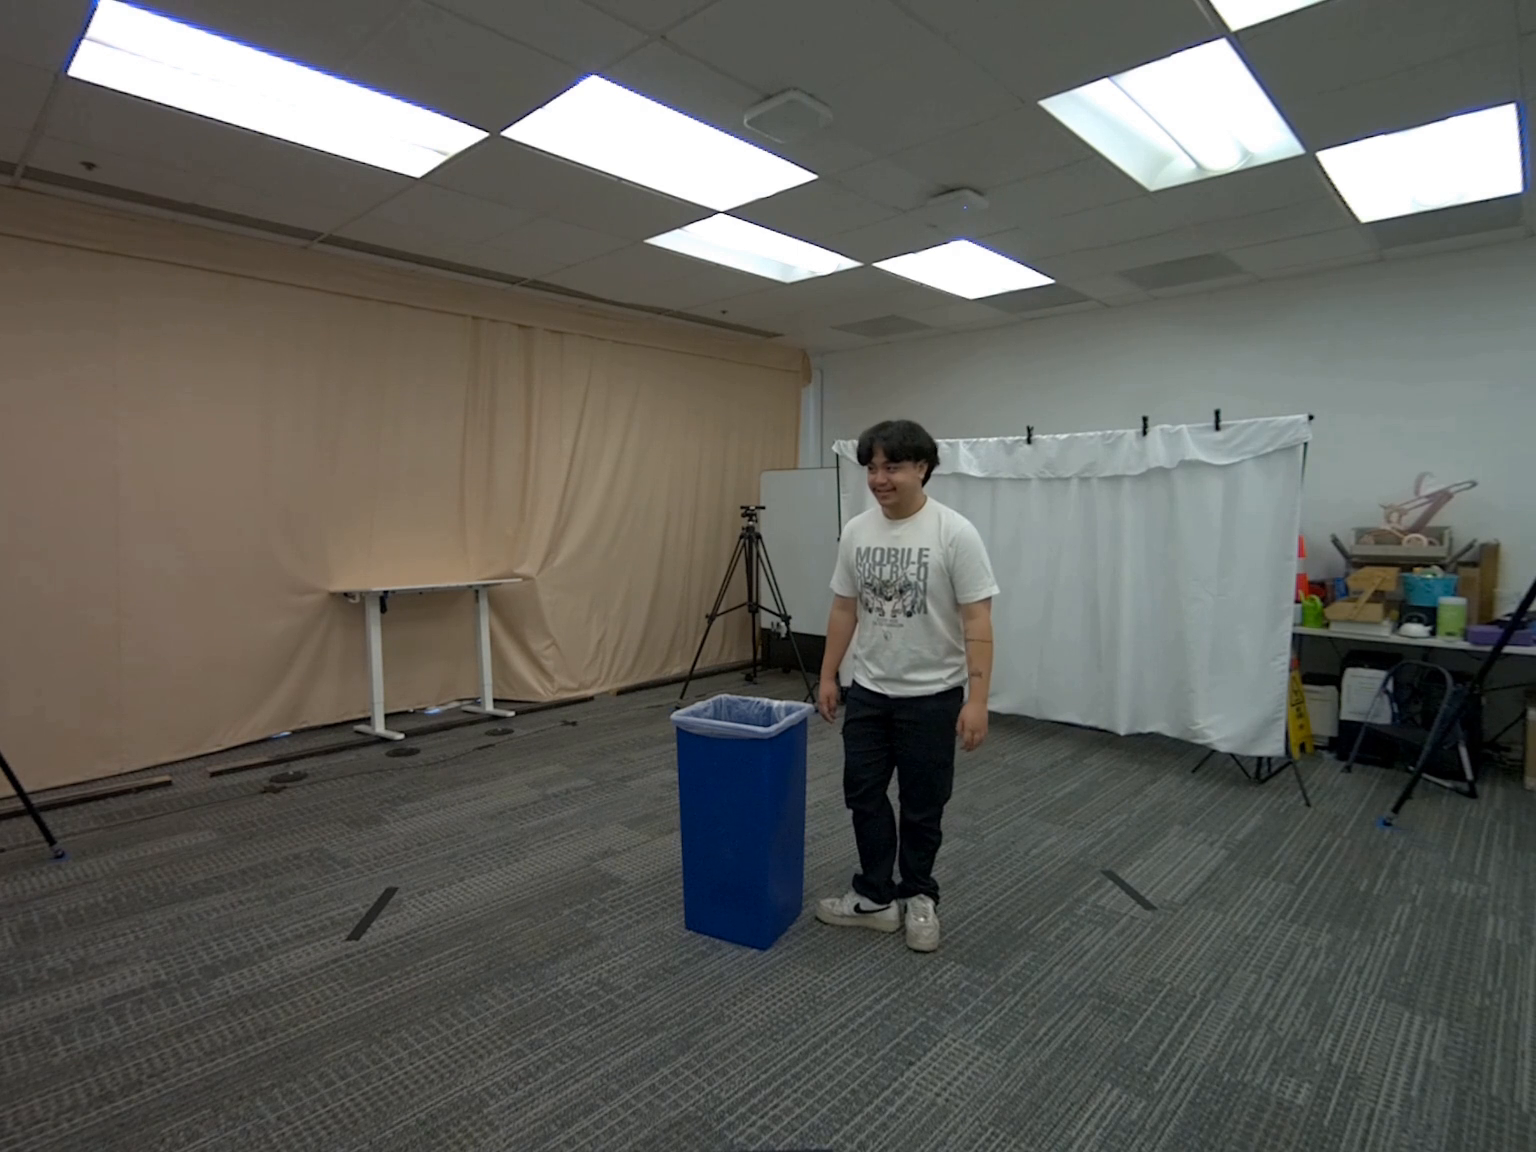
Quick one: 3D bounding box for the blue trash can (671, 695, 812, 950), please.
[{"bbox_3d":[-0.073,0.801,2.805,0.388,0.712,0.365,1,3,27],"label":"blue trash can"}]
